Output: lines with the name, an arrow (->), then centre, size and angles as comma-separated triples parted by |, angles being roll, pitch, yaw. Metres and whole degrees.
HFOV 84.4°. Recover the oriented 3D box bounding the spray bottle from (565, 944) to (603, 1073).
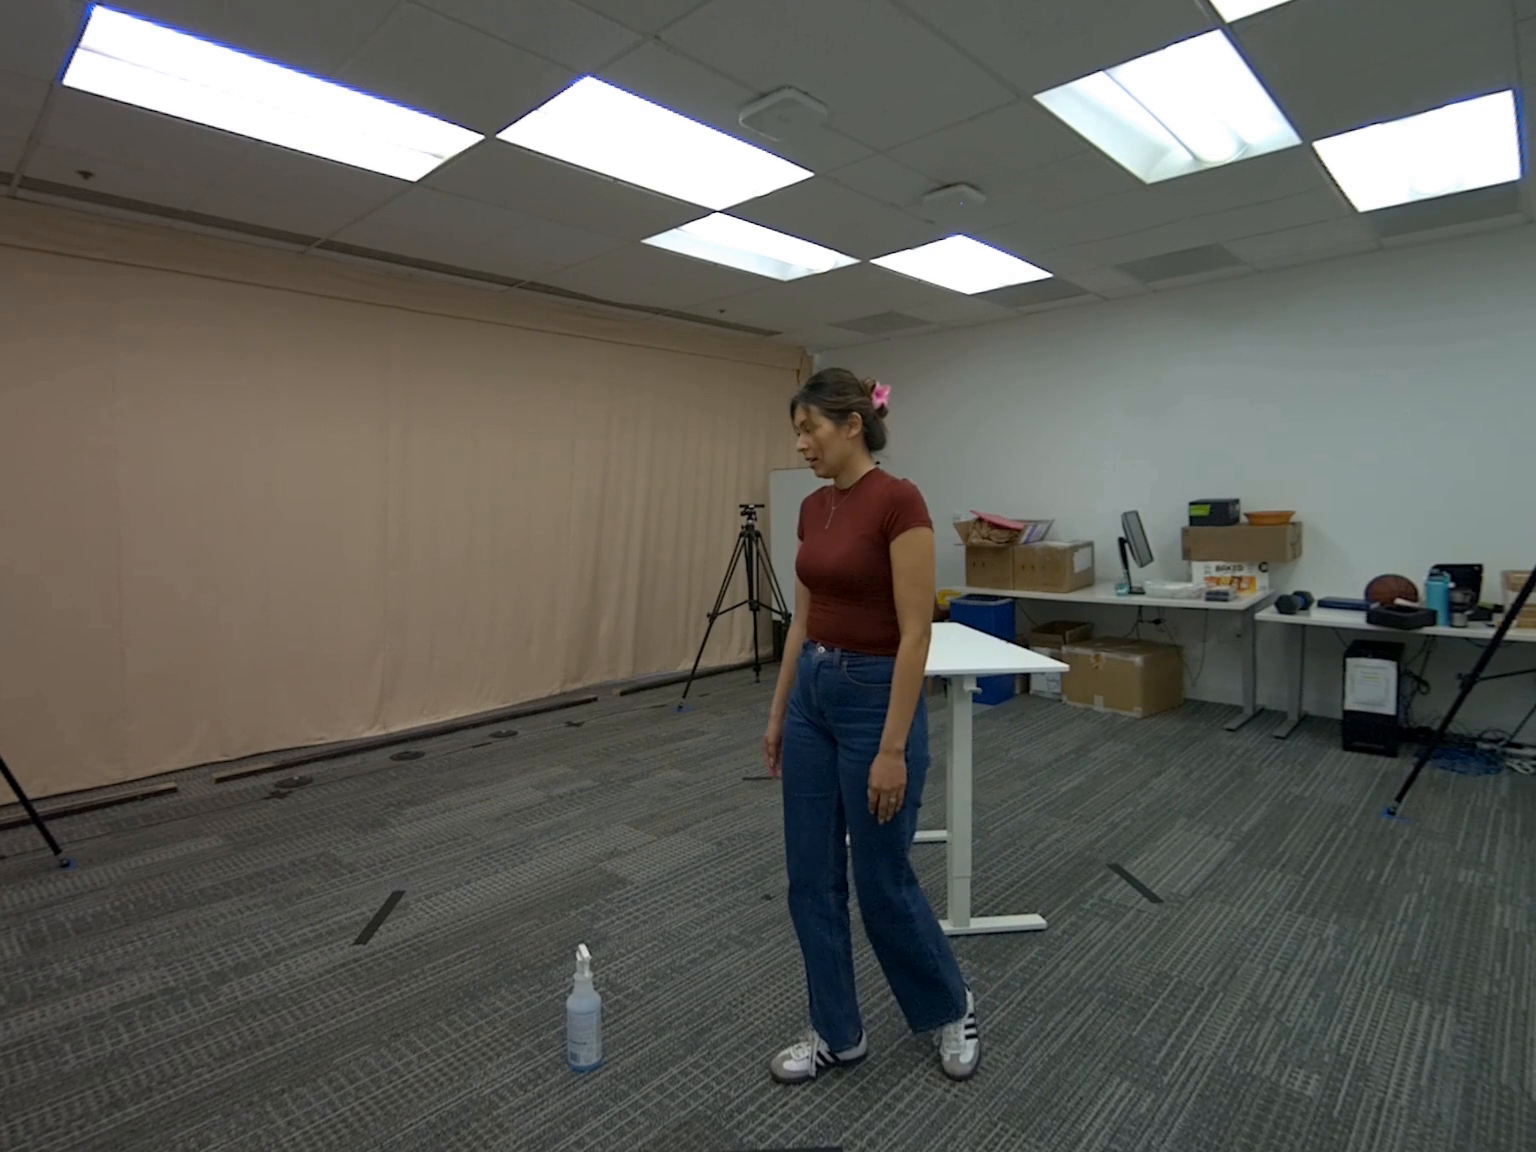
spray bottle -> -0.459, 1.086, 2.109 | 0.087, 0.297, 0.090 | -2, 1, 2
